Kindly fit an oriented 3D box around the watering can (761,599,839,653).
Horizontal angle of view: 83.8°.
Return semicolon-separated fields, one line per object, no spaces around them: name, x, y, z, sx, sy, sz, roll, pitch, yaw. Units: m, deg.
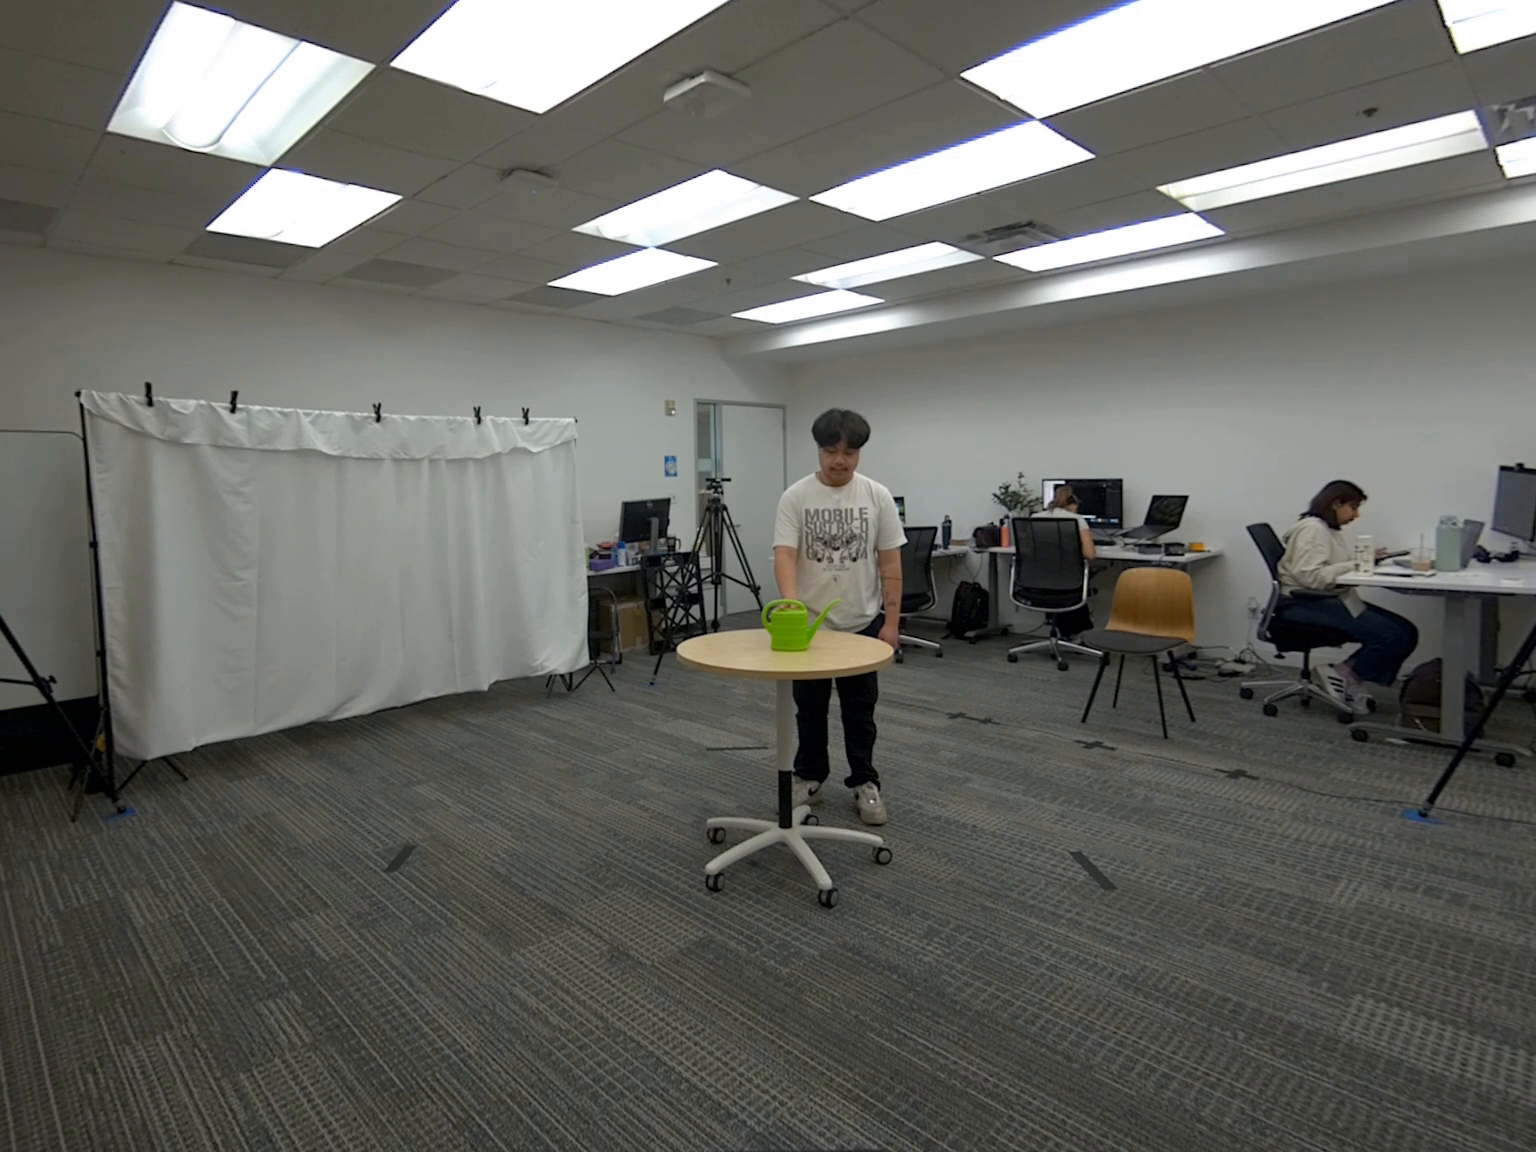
watering can;0.119;0.179;2.986;0.284;0.175;0.096;3;10;23
